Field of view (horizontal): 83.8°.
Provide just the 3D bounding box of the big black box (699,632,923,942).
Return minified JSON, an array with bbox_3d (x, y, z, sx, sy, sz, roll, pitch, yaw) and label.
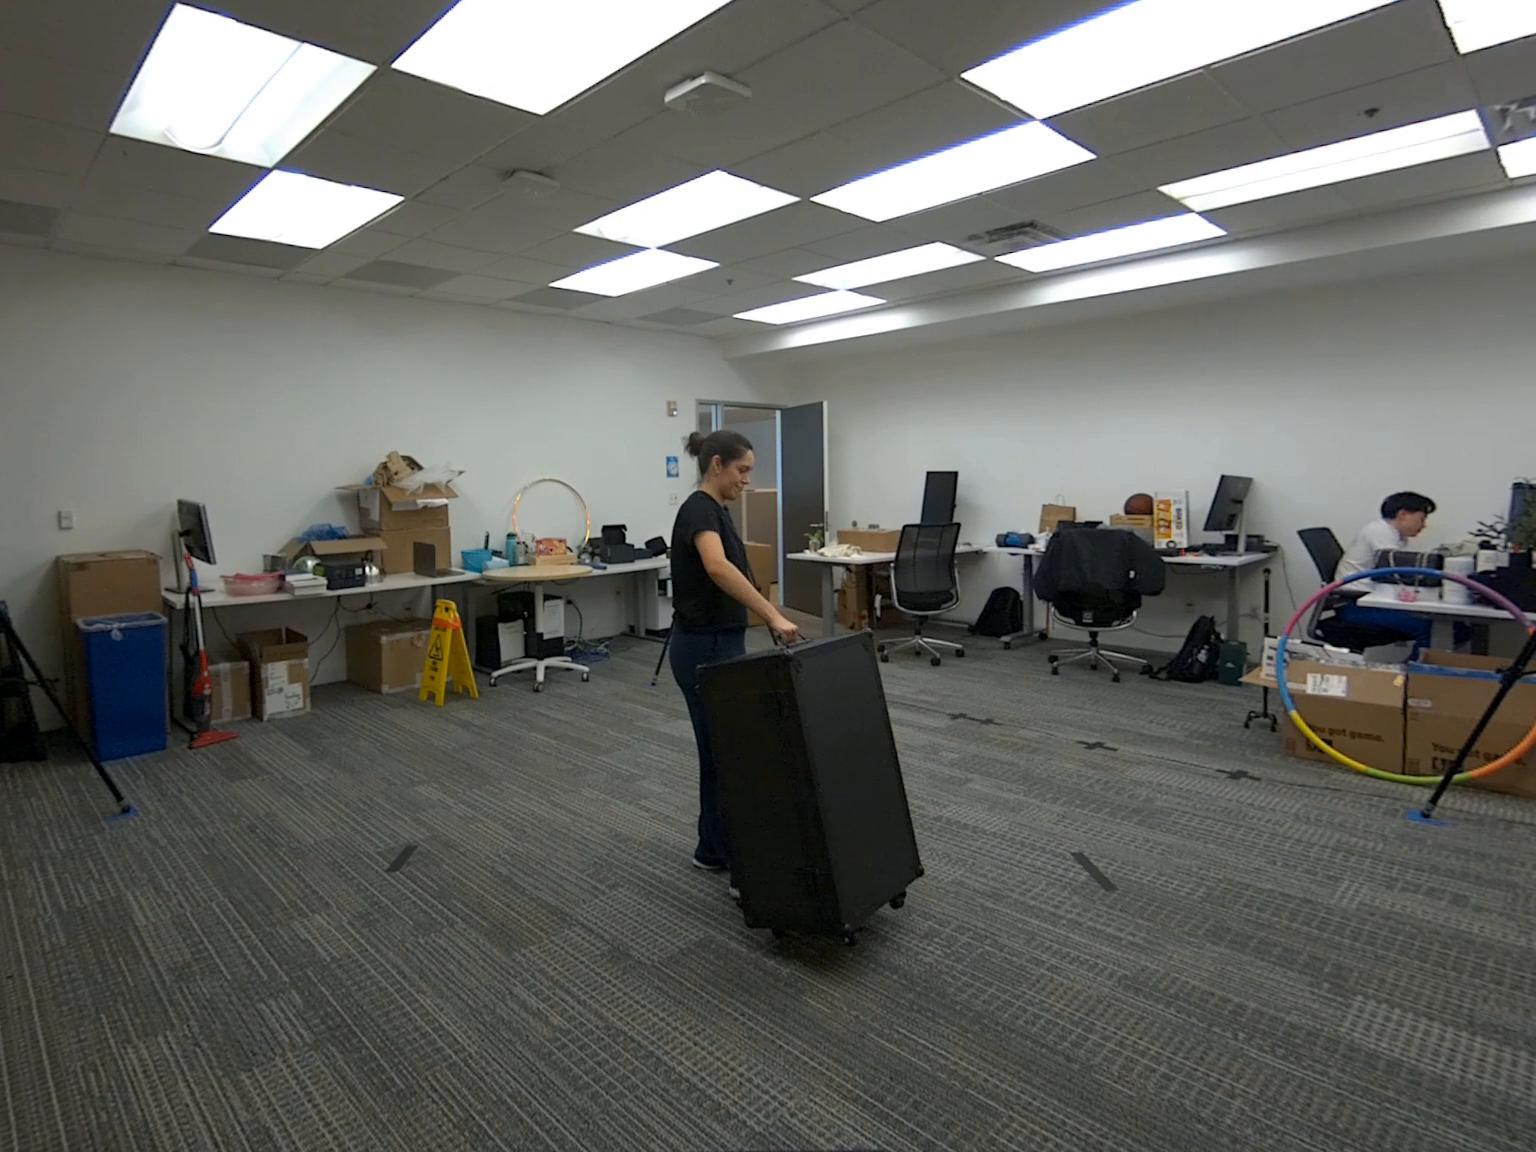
[{"bbox_3d":[0.132,0.644,2.664,0.404,0.867,0.508,-16,-7,37],"label":"big black box"}]
